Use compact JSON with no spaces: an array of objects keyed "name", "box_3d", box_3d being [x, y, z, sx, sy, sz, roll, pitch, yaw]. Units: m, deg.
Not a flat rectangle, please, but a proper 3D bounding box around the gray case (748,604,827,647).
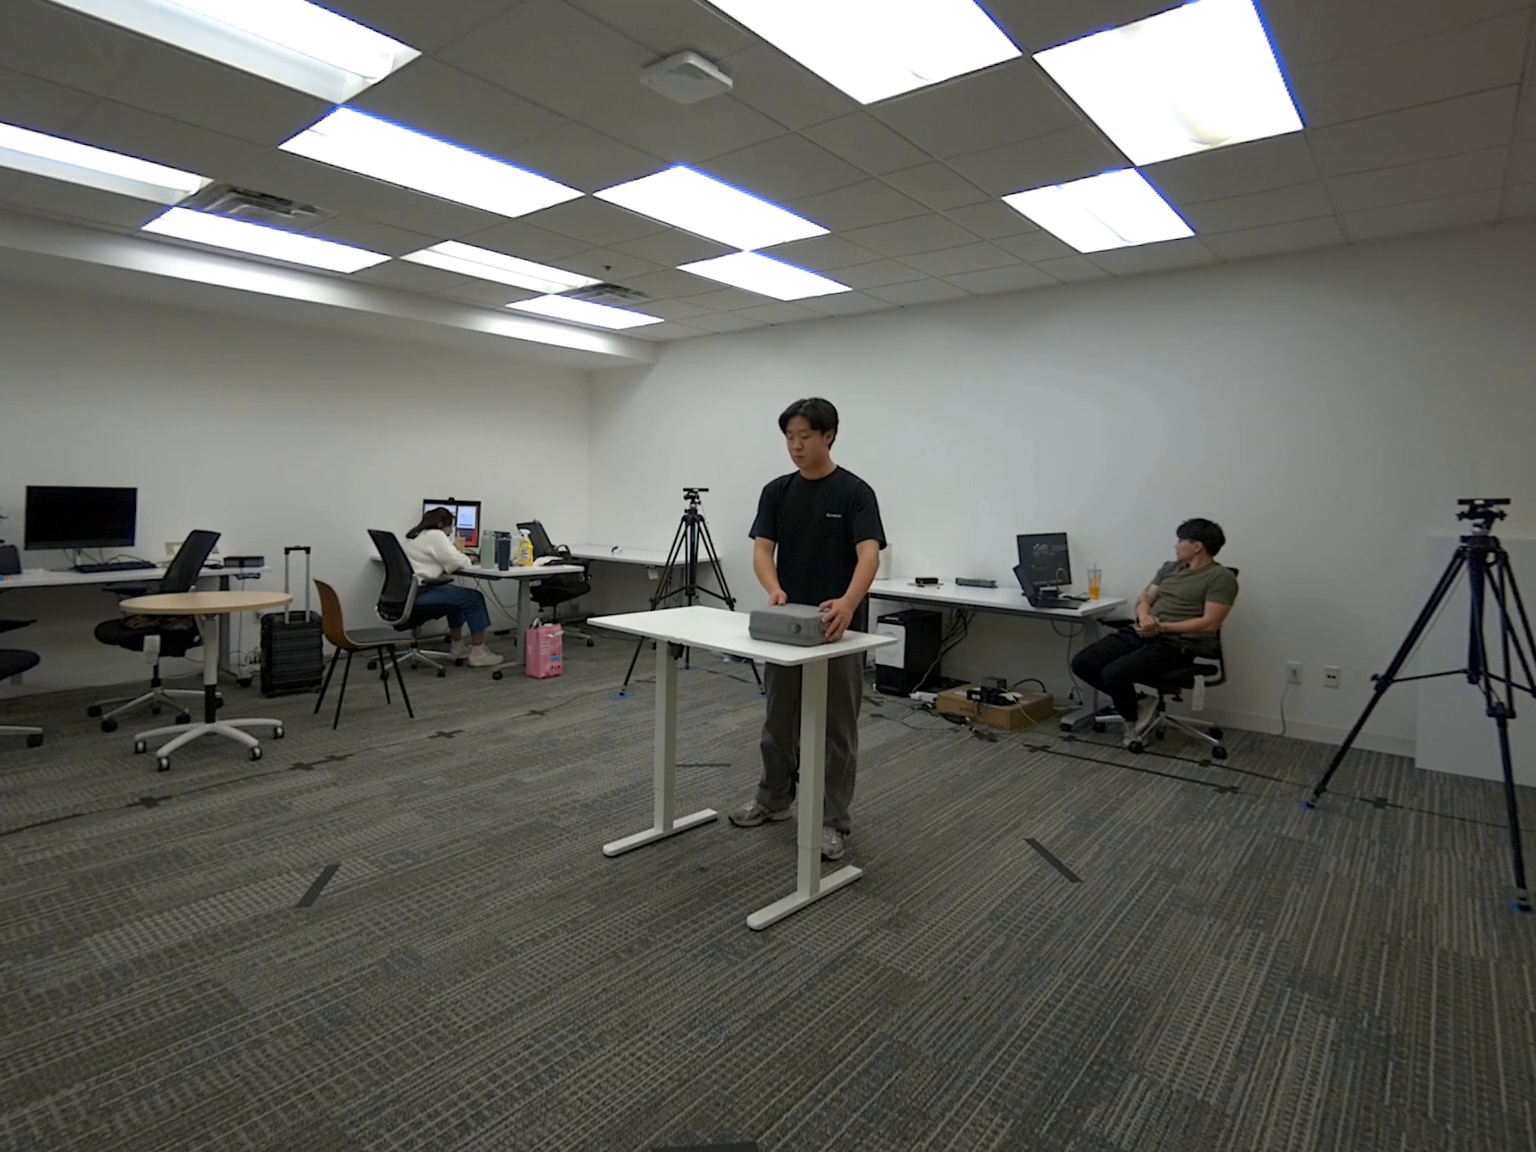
[{"name":"gray case","box_3d":[0.097,0.162,2.912,0.297,0.102,0.255,5,7,39]}]
